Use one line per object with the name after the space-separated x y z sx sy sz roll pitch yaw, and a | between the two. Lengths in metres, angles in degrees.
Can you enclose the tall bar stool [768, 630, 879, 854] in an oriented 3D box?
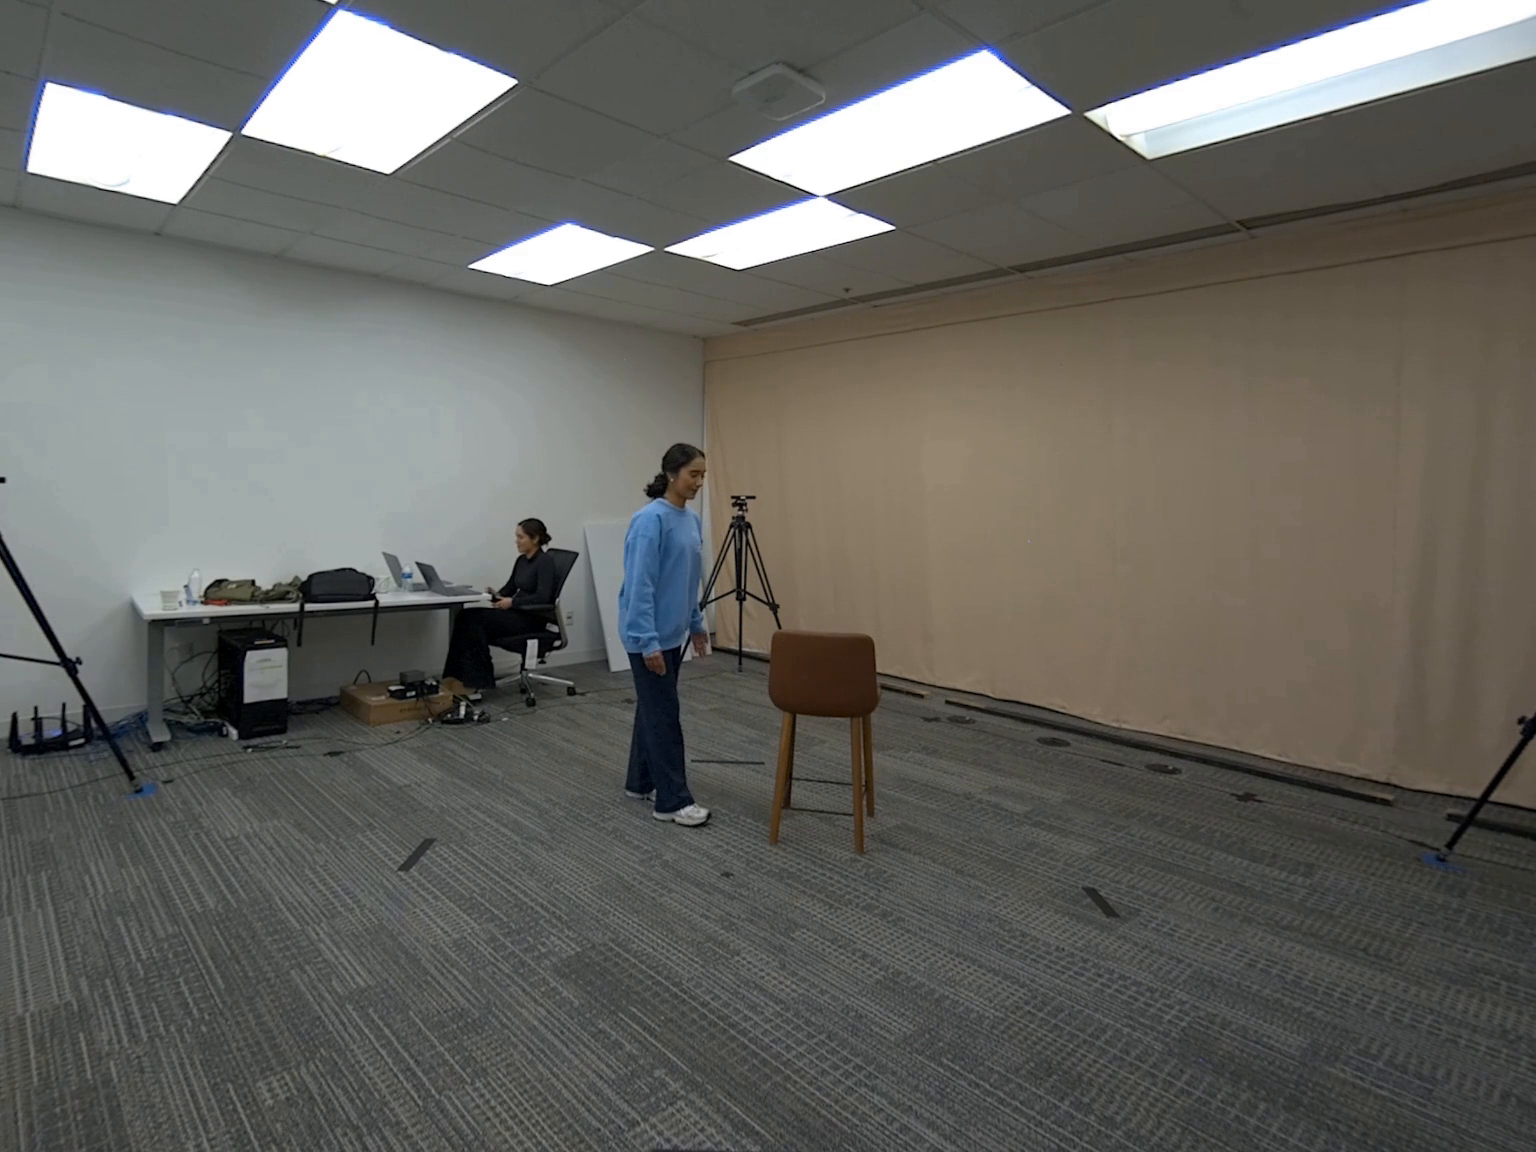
0.235 0.641 3.541 0.462 0.887 0.463 2 4 13 | tall bar stool
